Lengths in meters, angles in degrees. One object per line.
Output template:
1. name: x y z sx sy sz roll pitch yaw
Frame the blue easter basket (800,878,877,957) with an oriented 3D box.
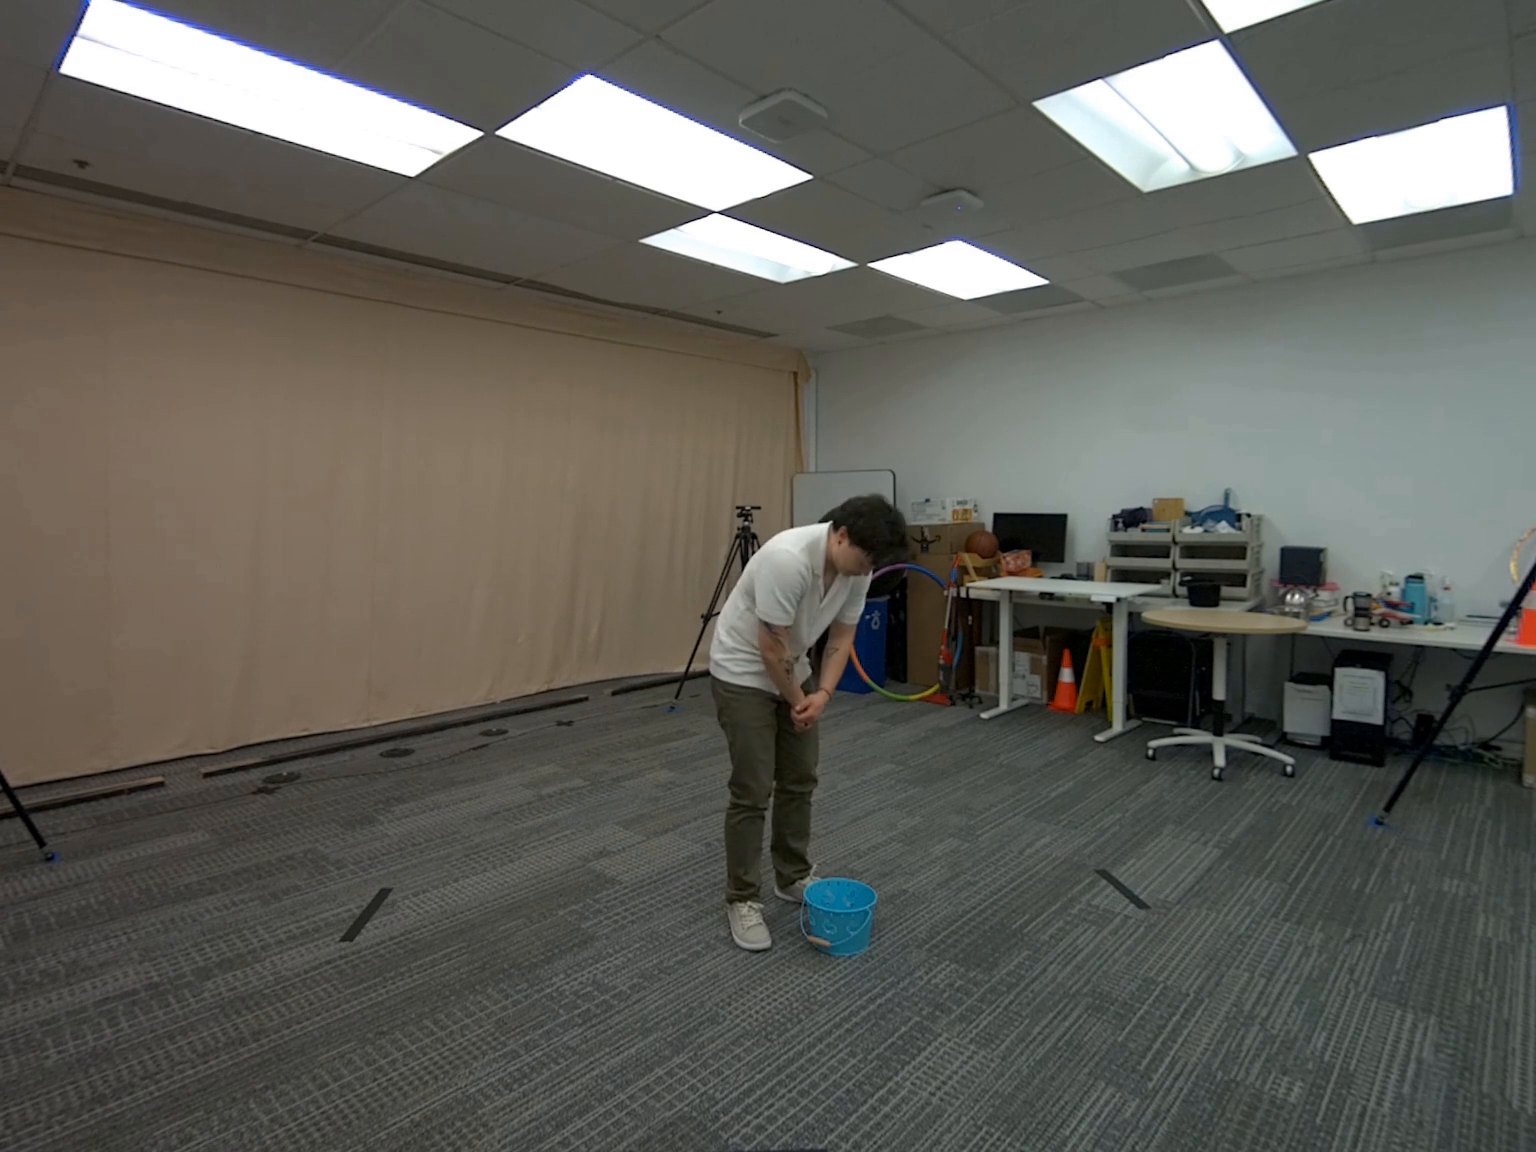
1. blue easter basket: 0.224 1.086 2.696 0.243 0.155 0.244 0 4 -2
